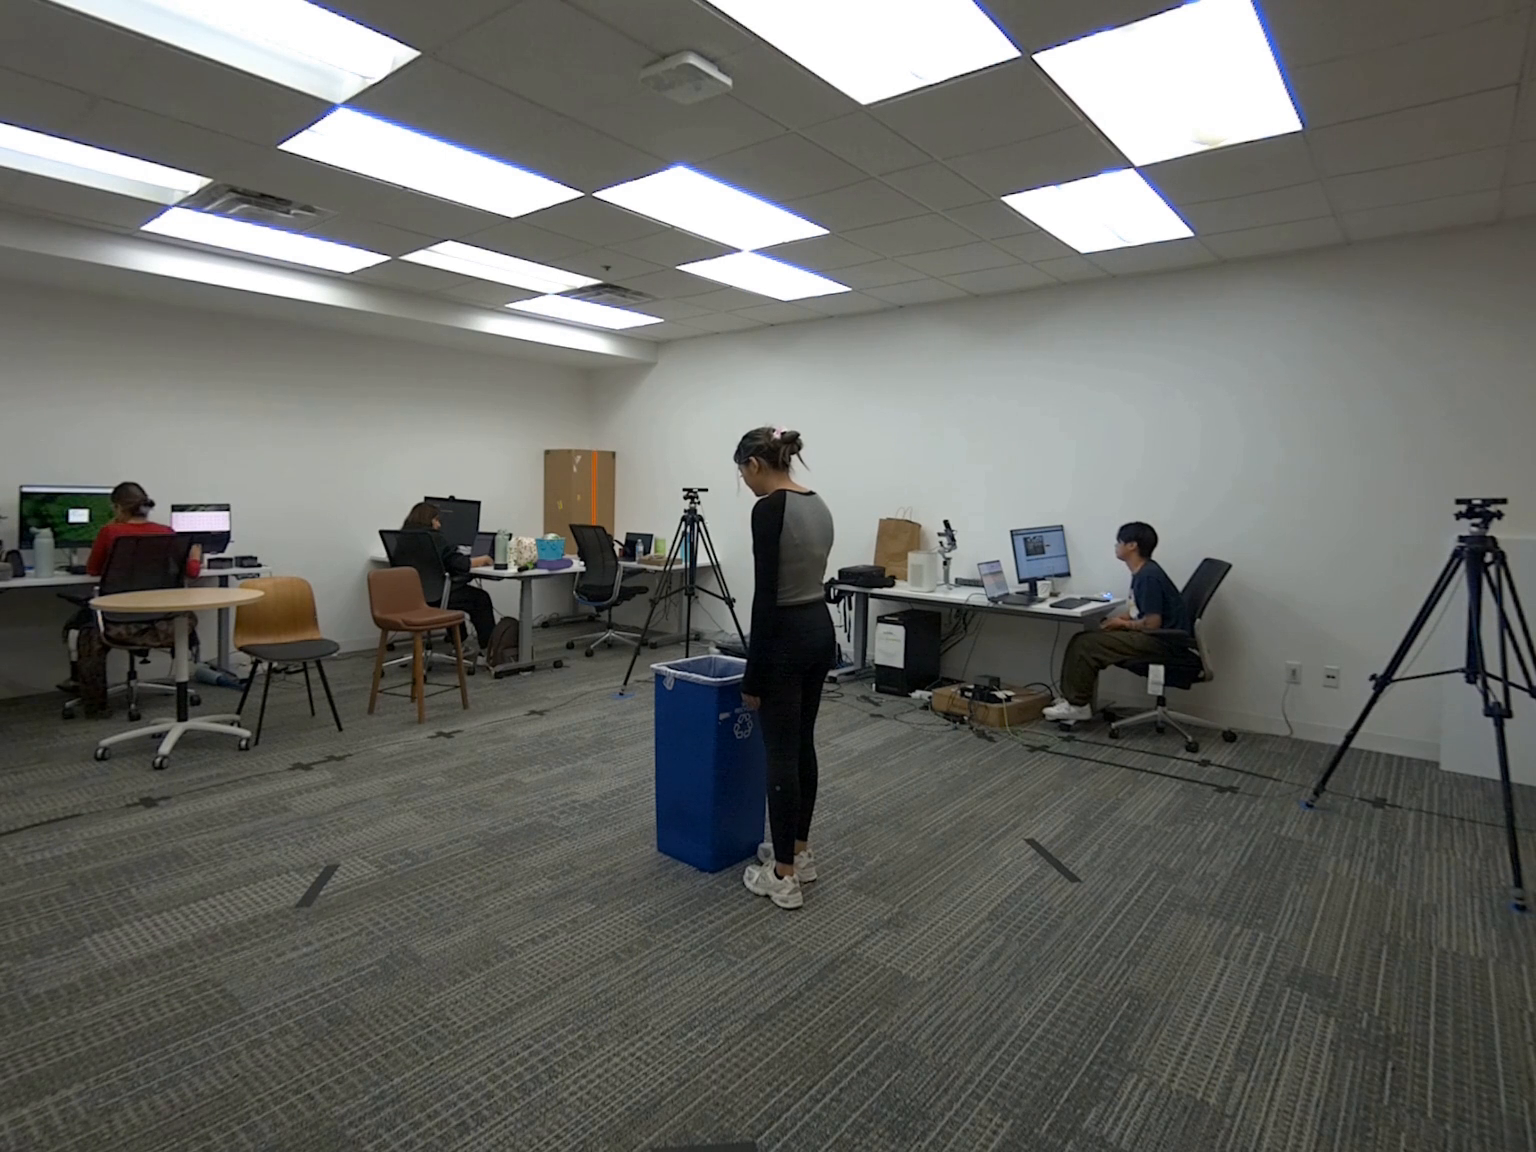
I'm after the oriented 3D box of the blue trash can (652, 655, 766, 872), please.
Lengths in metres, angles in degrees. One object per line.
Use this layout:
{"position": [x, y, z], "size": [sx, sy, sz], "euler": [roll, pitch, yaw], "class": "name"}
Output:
{"position": [-0.224, 0.696, 3.269], "size": [0.391, 0.711, 0.363], "euler": [4, 4, 40], "class": "blue trash can"}
